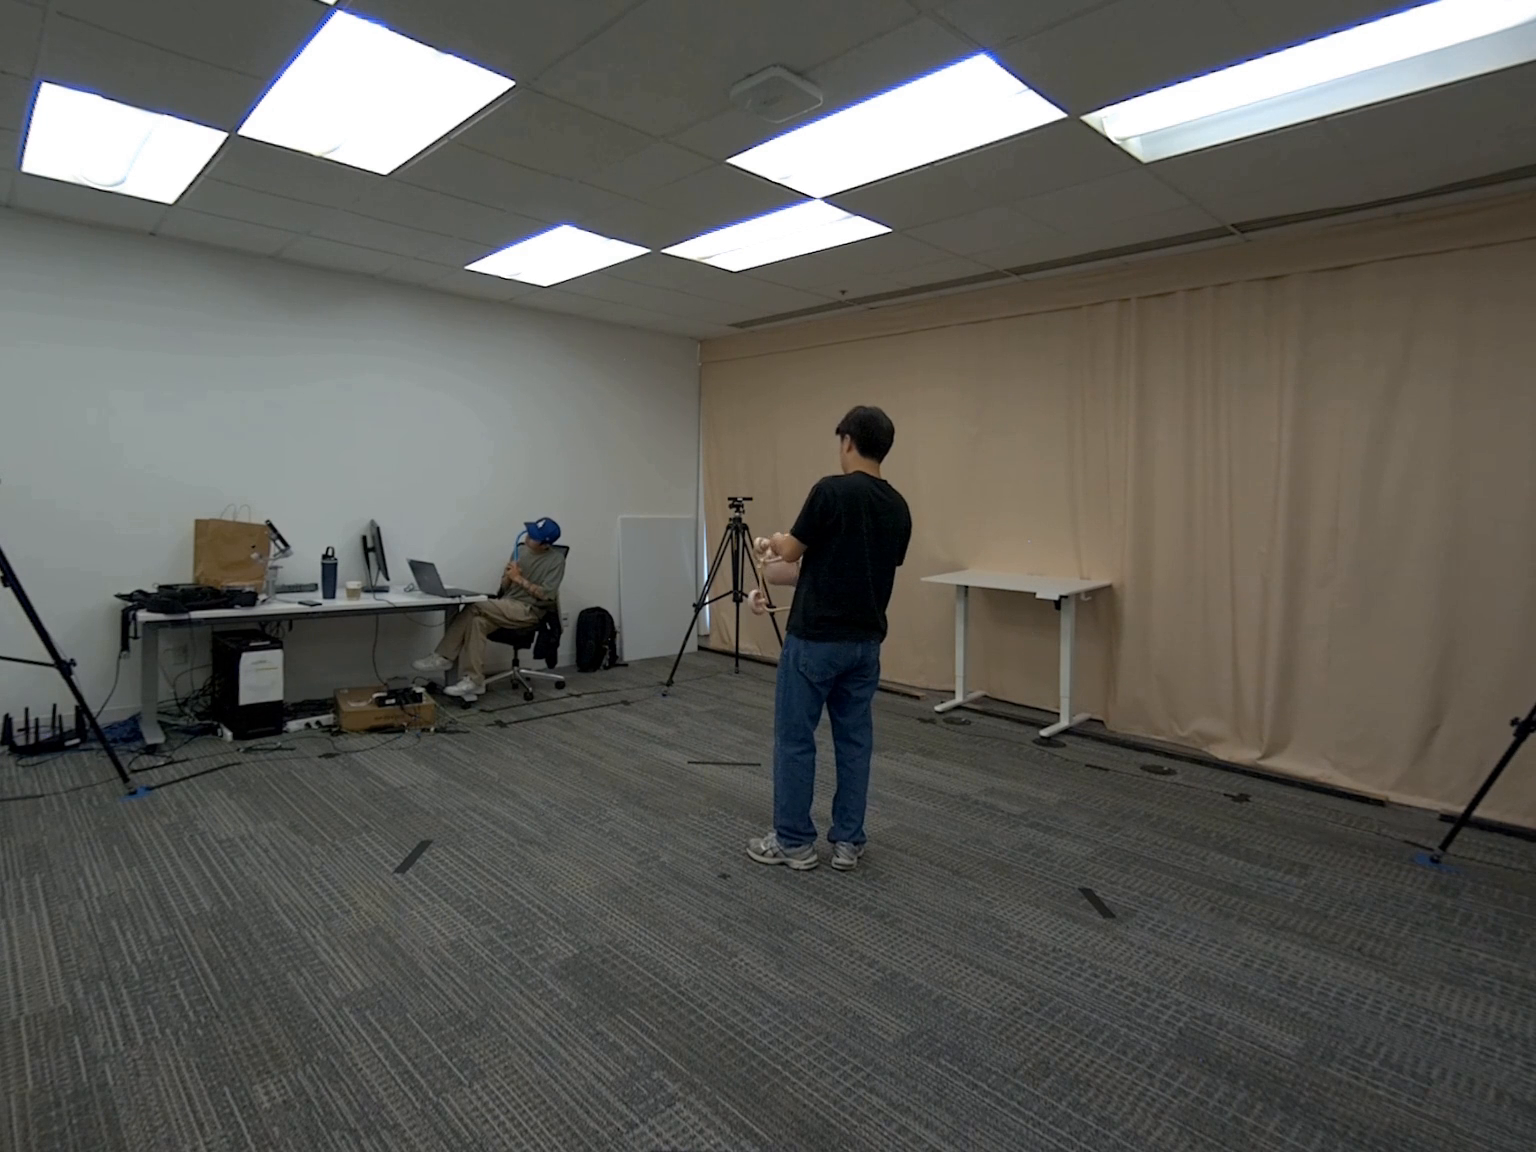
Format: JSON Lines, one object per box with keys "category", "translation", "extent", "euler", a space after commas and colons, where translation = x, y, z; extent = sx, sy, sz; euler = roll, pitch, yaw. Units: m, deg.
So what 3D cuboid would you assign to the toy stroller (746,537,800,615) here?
{"category": "toy stroller", "translation": [0.096, -0.027, 3.669], "extent": [0.286, 0.341, 0.526], "euler": [-15, 0, 32]}
